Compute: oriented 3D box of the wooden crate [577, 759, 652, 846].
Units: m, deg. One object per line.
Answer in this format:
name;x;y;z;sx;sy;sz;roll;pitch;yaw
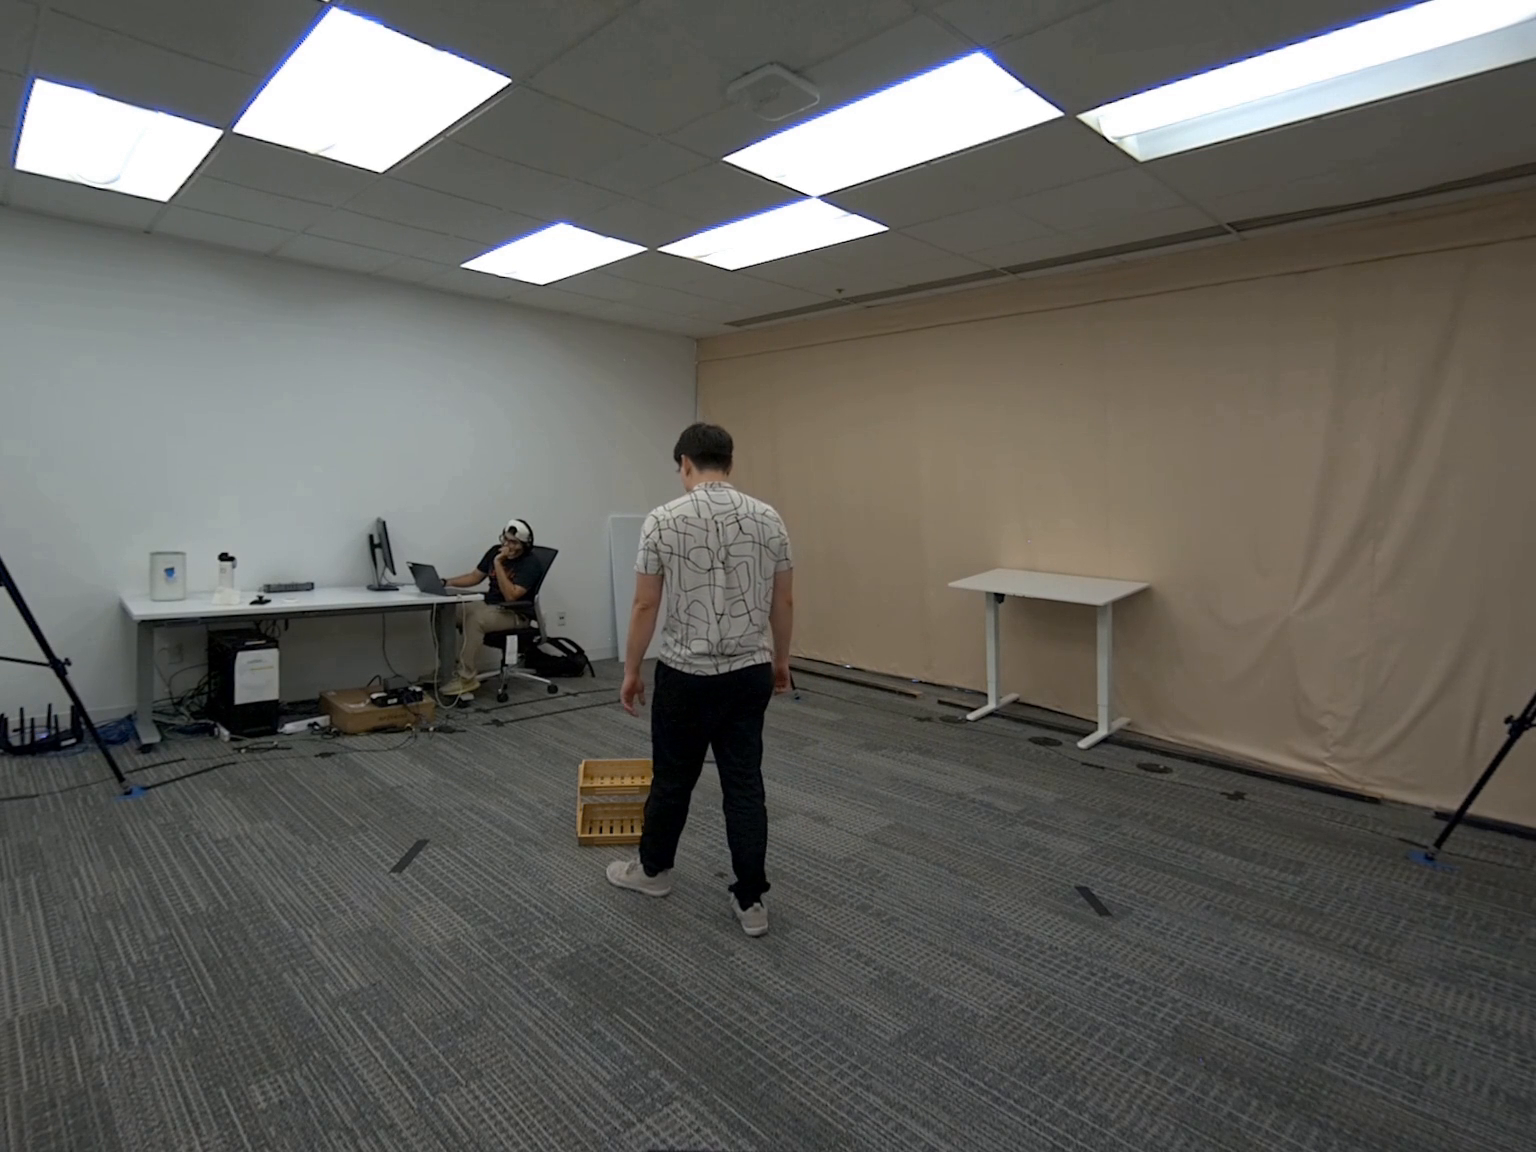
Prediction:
wooden crate;-0.628;0.924;3.468;0.322;0.272;0.305;1;4;-8
